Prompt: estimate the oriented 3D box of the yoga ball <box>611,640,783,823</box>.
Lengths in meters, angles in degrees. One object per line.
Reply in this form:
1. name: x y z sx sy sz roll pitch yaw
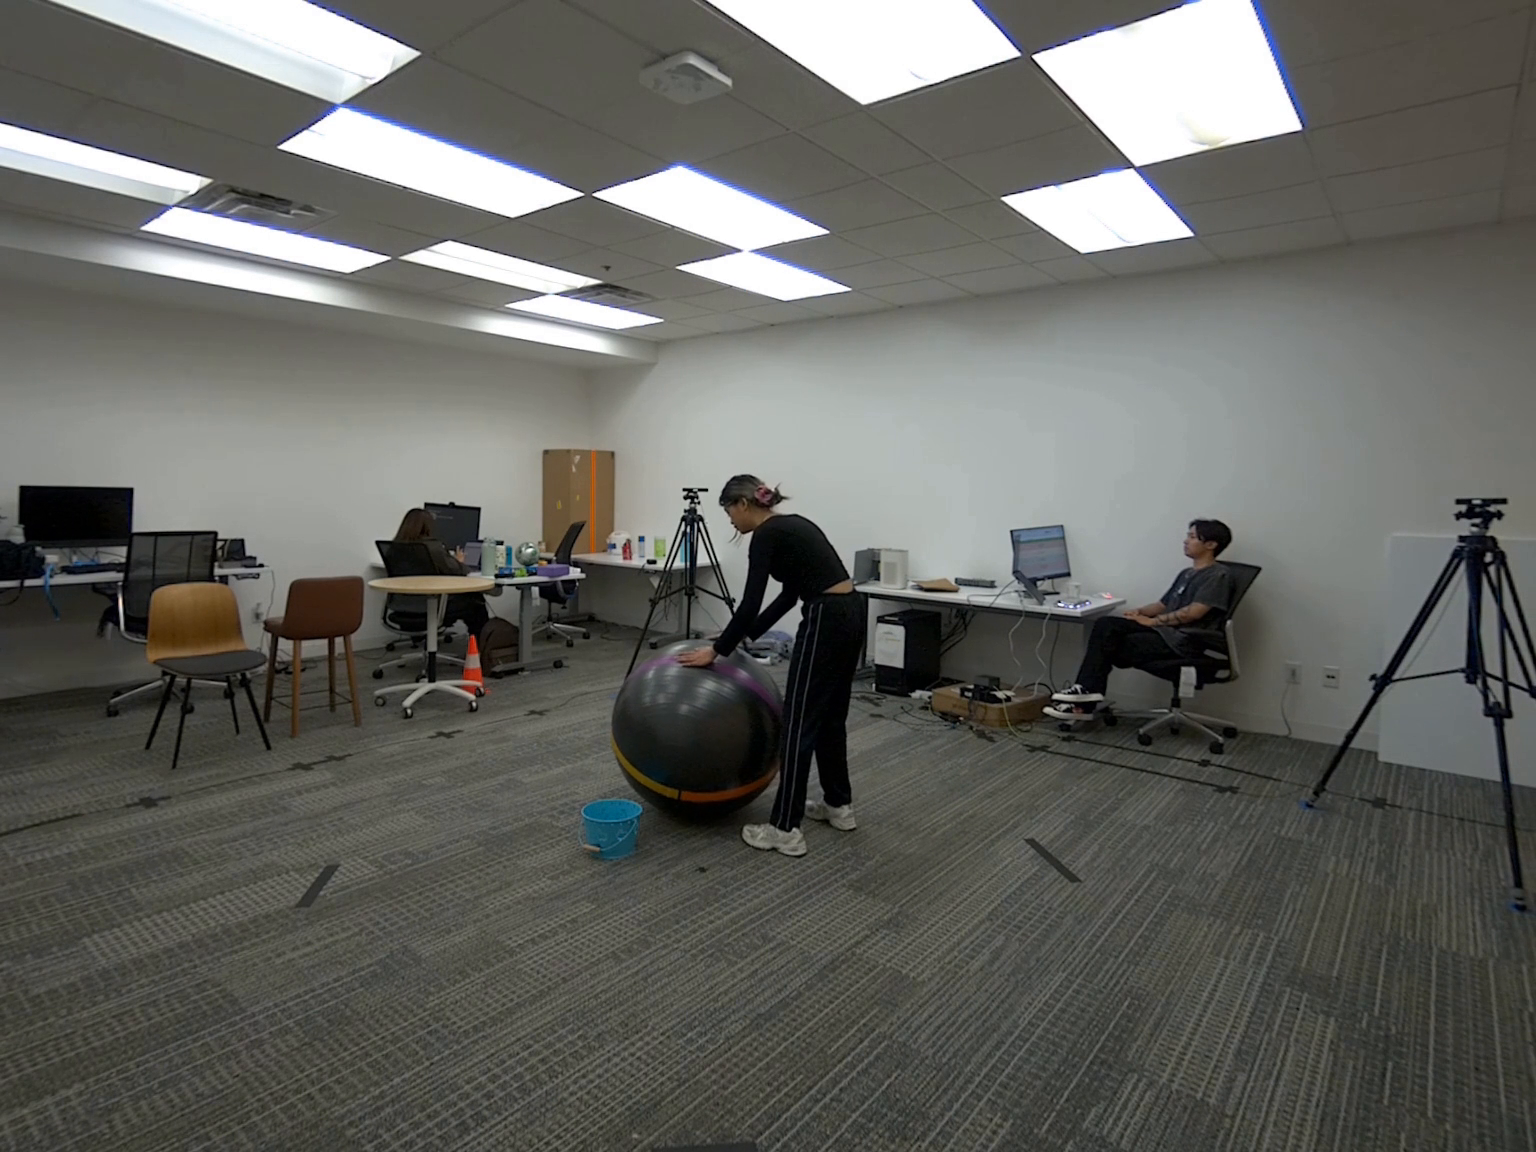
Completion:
1. yoga ball: -0.309 0.651 3.668 0.757 0.755 0.762 1 4 -2
